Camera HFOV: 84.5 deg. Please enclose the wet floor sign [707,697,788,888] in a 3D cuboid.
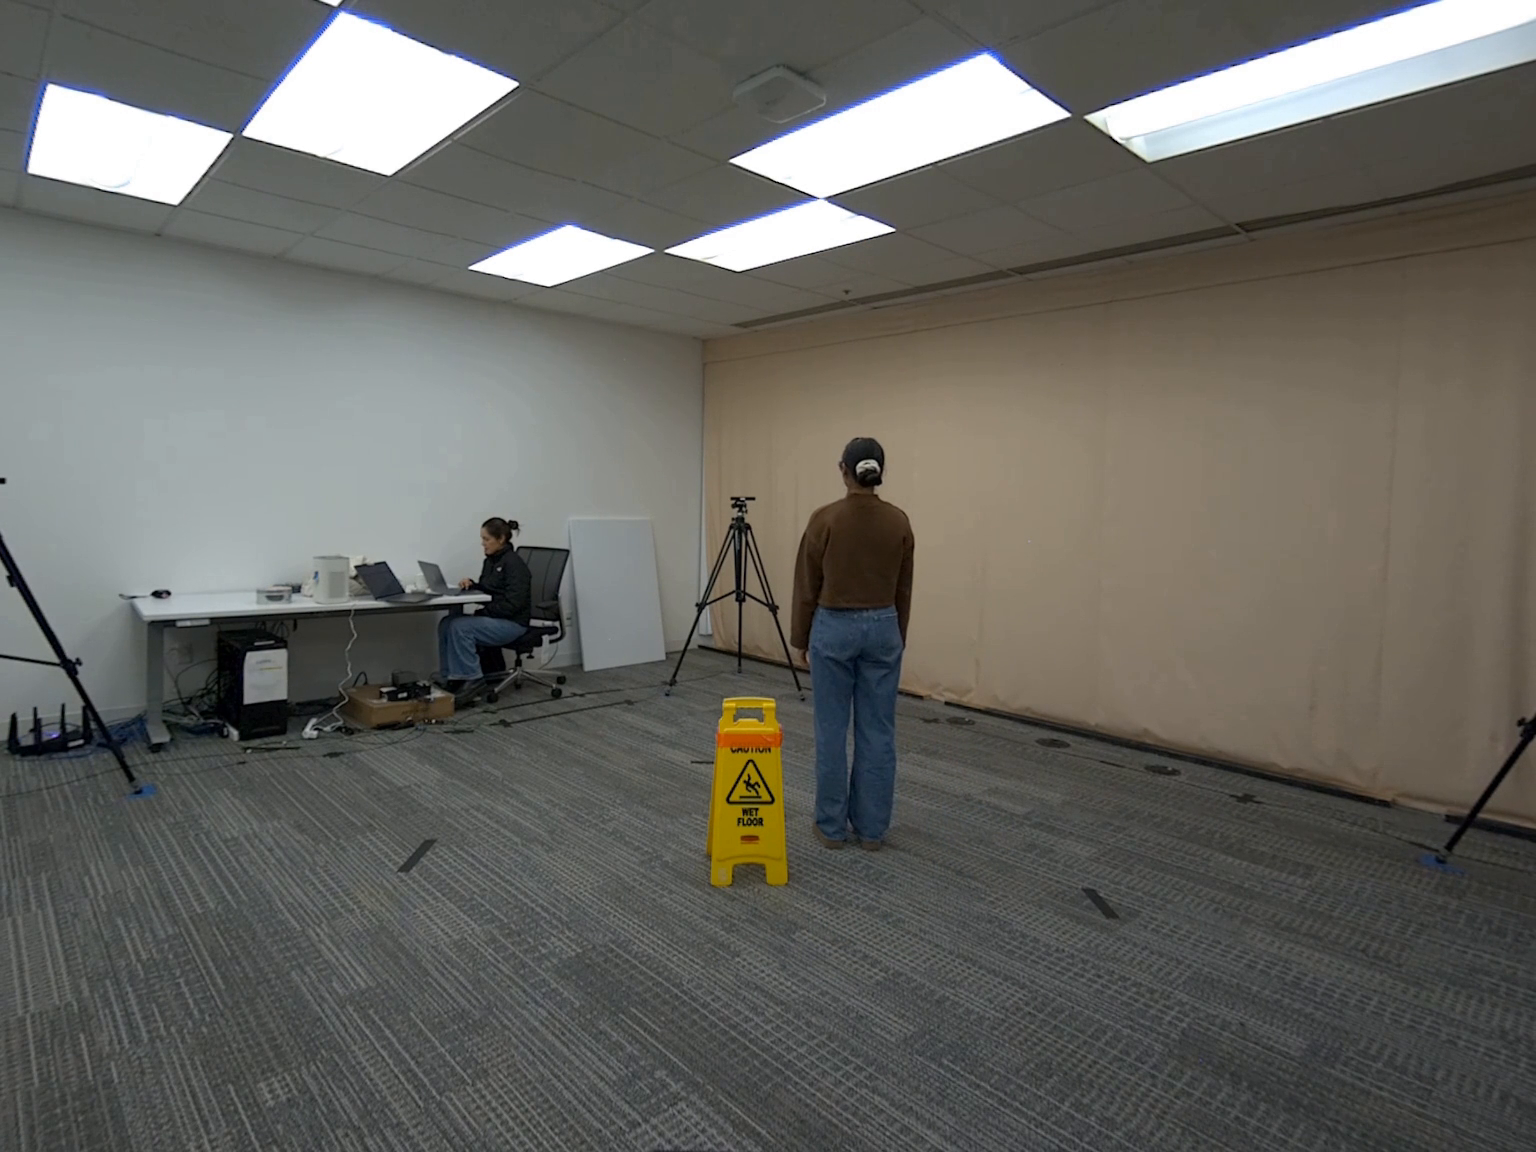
[{"bbox_3d":[-0.087,0.779,3.151,0.281,0.645,0.292,2,3,-7],"label":"wet floor sign"}]
